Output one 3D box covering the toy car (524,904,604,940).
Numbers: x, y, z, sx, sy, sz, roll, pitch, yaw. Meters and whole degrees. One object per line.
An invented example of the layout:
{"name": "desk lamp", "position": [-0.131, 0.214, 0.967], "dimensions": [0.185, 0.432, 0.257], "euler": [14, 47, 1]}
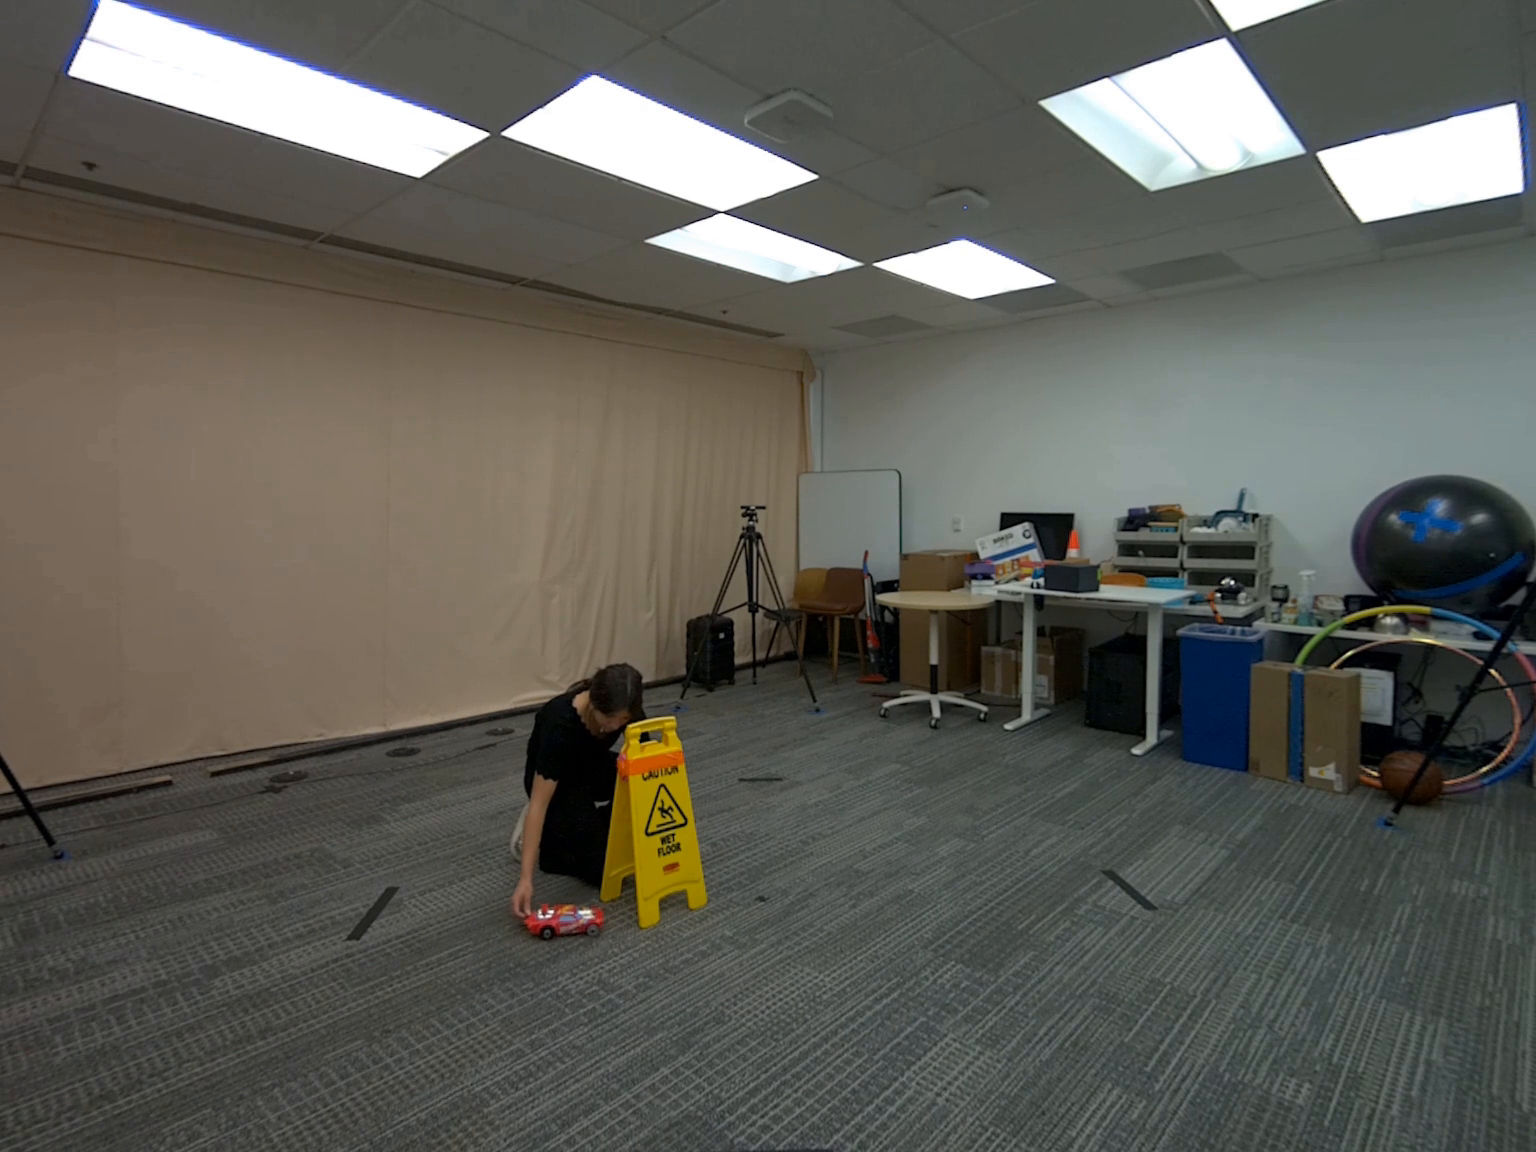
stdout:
{"name": "toy car", "position": [-0.663, 1.129, 2.770], "dimensions": [0.251, 0.083, 0.132], "euler": [10, 4, -12]}
